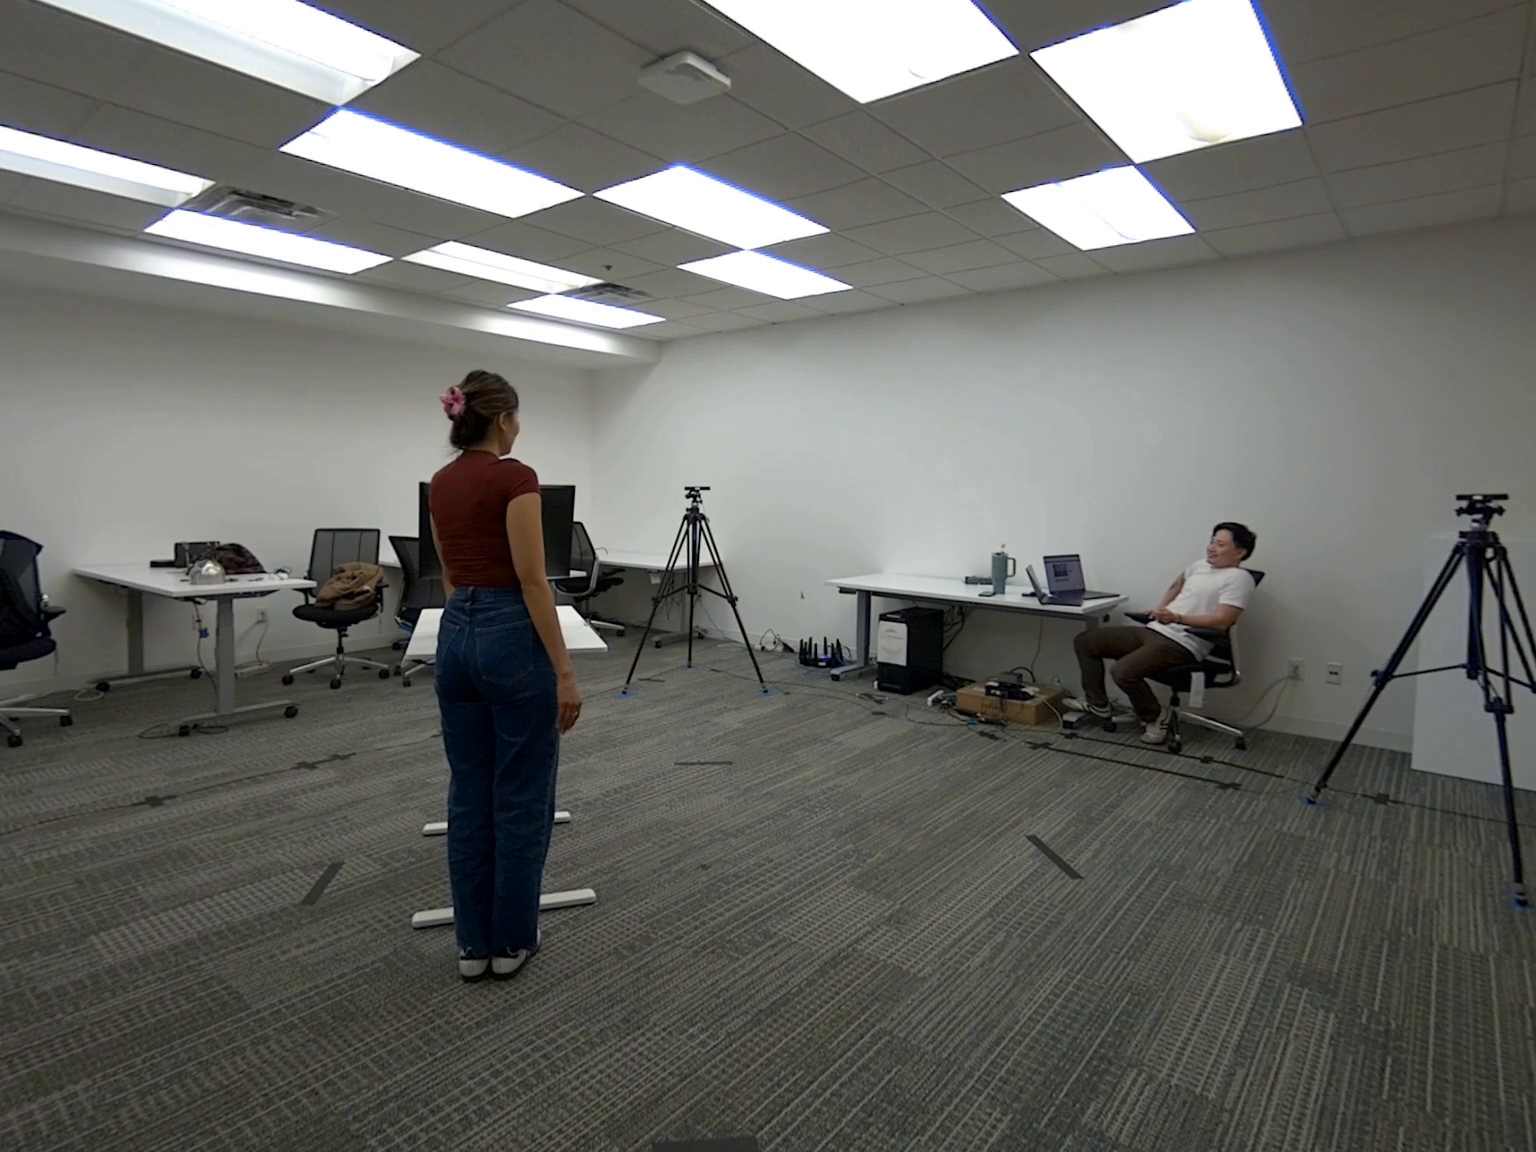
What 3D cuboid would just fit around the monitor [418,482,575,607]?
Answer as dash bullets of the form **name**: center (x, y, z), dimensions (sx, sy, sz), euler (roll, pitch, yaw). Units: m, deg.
- **monitor**: center (-0.970, -0.071, 3.003), dimensions (0.527, 0.520, 0.192), euler (0, 5, -23)
